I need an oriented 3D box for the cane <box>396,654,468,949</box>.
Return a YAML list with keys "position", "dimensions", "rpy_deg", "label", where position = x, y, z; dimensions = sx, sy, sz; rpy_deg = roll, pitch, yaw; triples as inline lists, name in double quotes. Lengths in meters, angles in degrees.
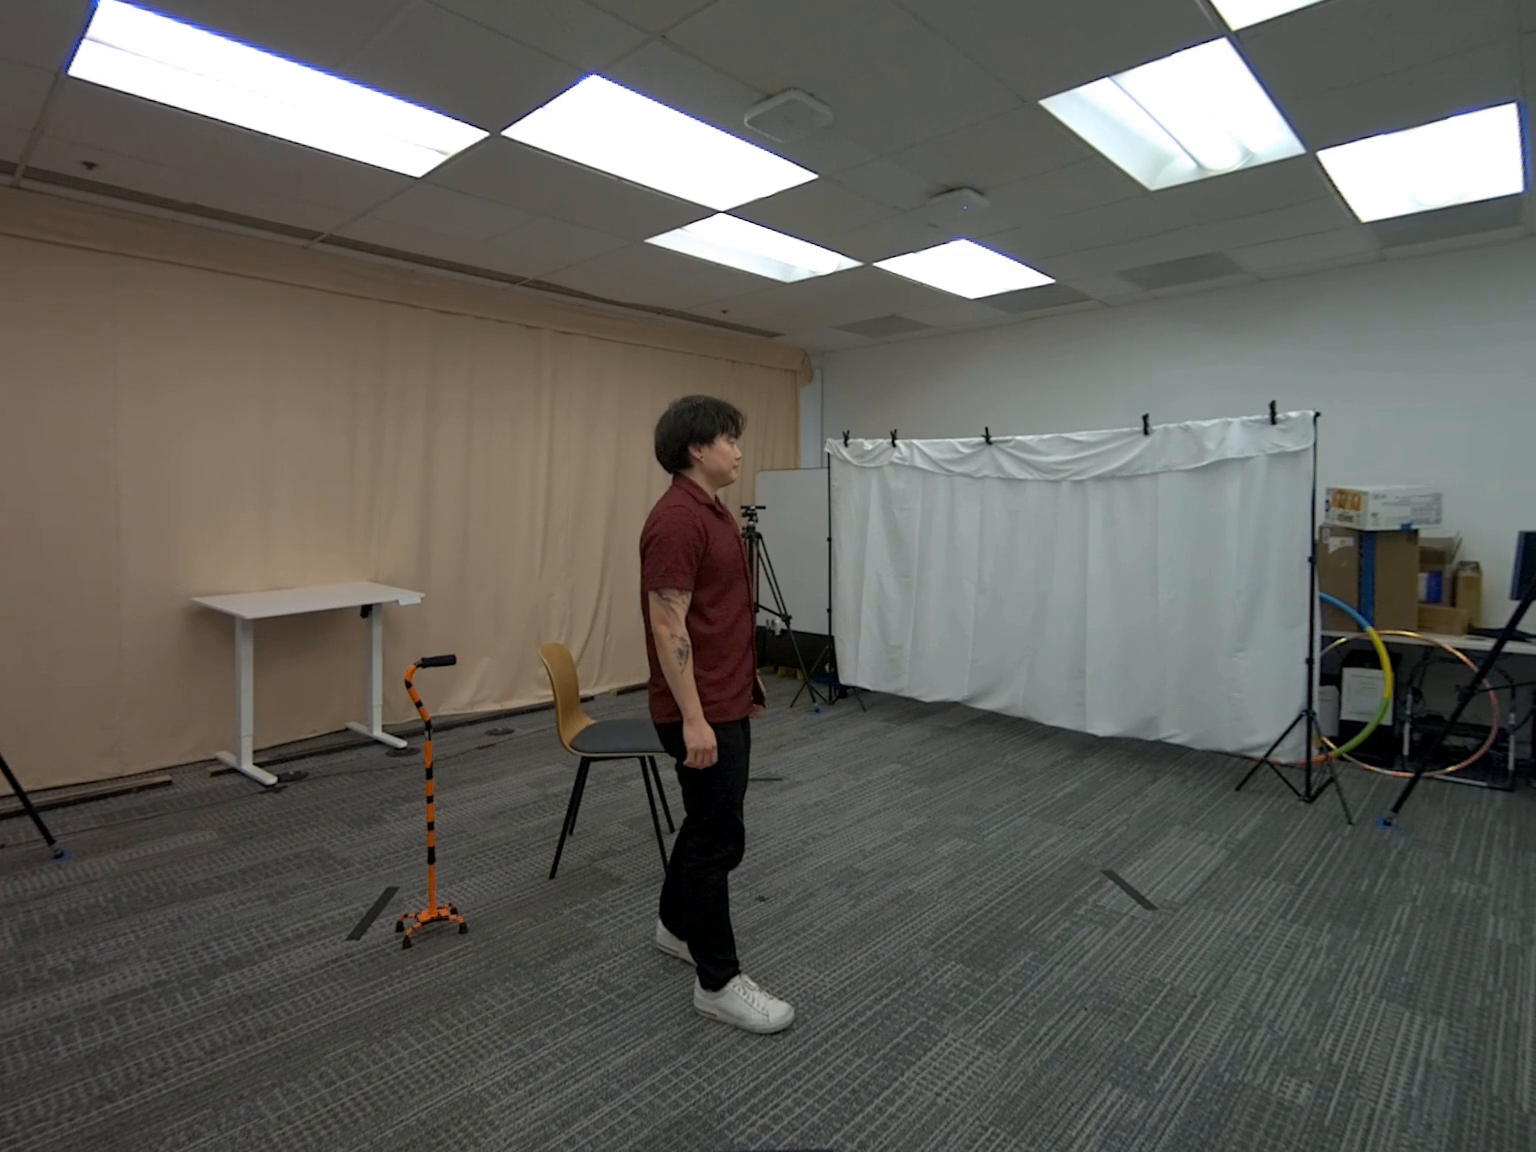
- position: [-1.108, 0.723, 2.746]
  dimensions: [0.200, 0.906, 0.156]
  rpy_deg: [-1, 3, -34]
  label: "cane"
